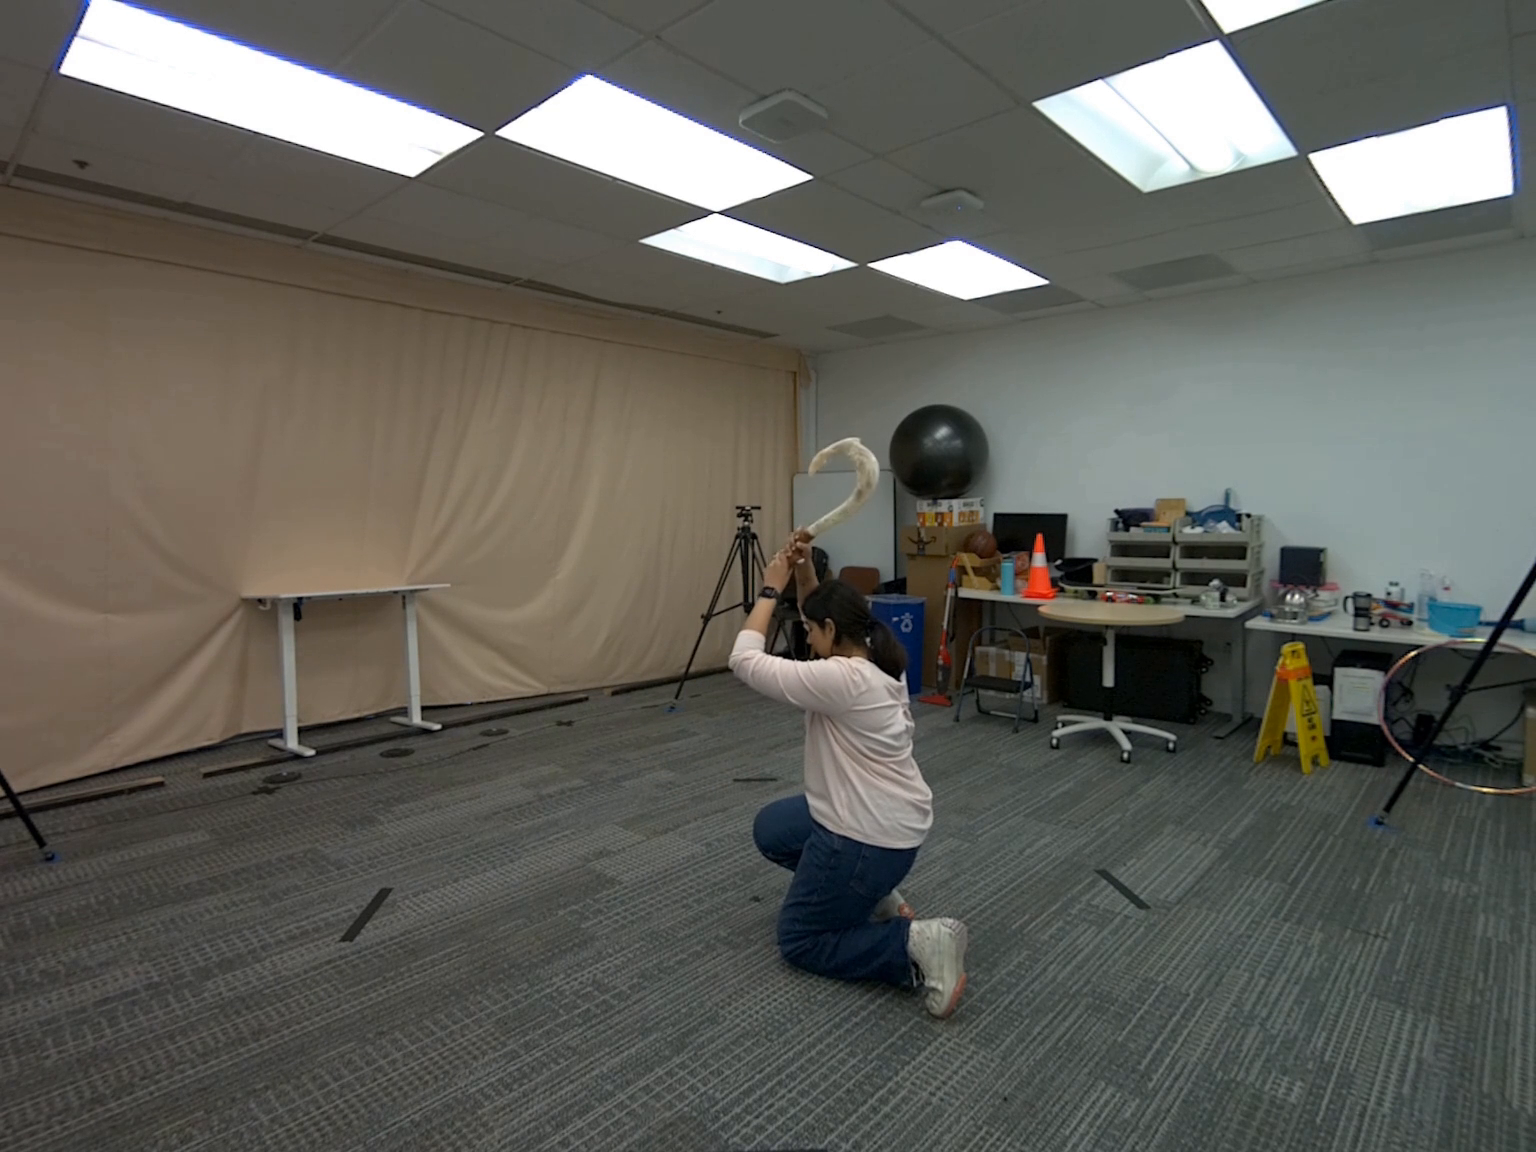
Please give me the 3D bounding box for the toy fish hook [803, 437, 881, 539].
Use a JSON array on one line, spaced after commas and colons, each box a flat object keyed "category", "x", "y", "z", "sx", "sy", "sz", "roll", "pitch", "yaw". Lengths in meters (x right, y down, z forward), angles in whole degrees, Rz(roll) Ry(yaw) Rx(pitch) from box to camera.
[{"category": "toy fish hook", "x": 0.138, "y": -0.200, "z": 2.580, "sx": 0.047, "sy": 0.509, "sz": 0.231, "roll": 7, "pitch": 41, "yaw": -50}]
